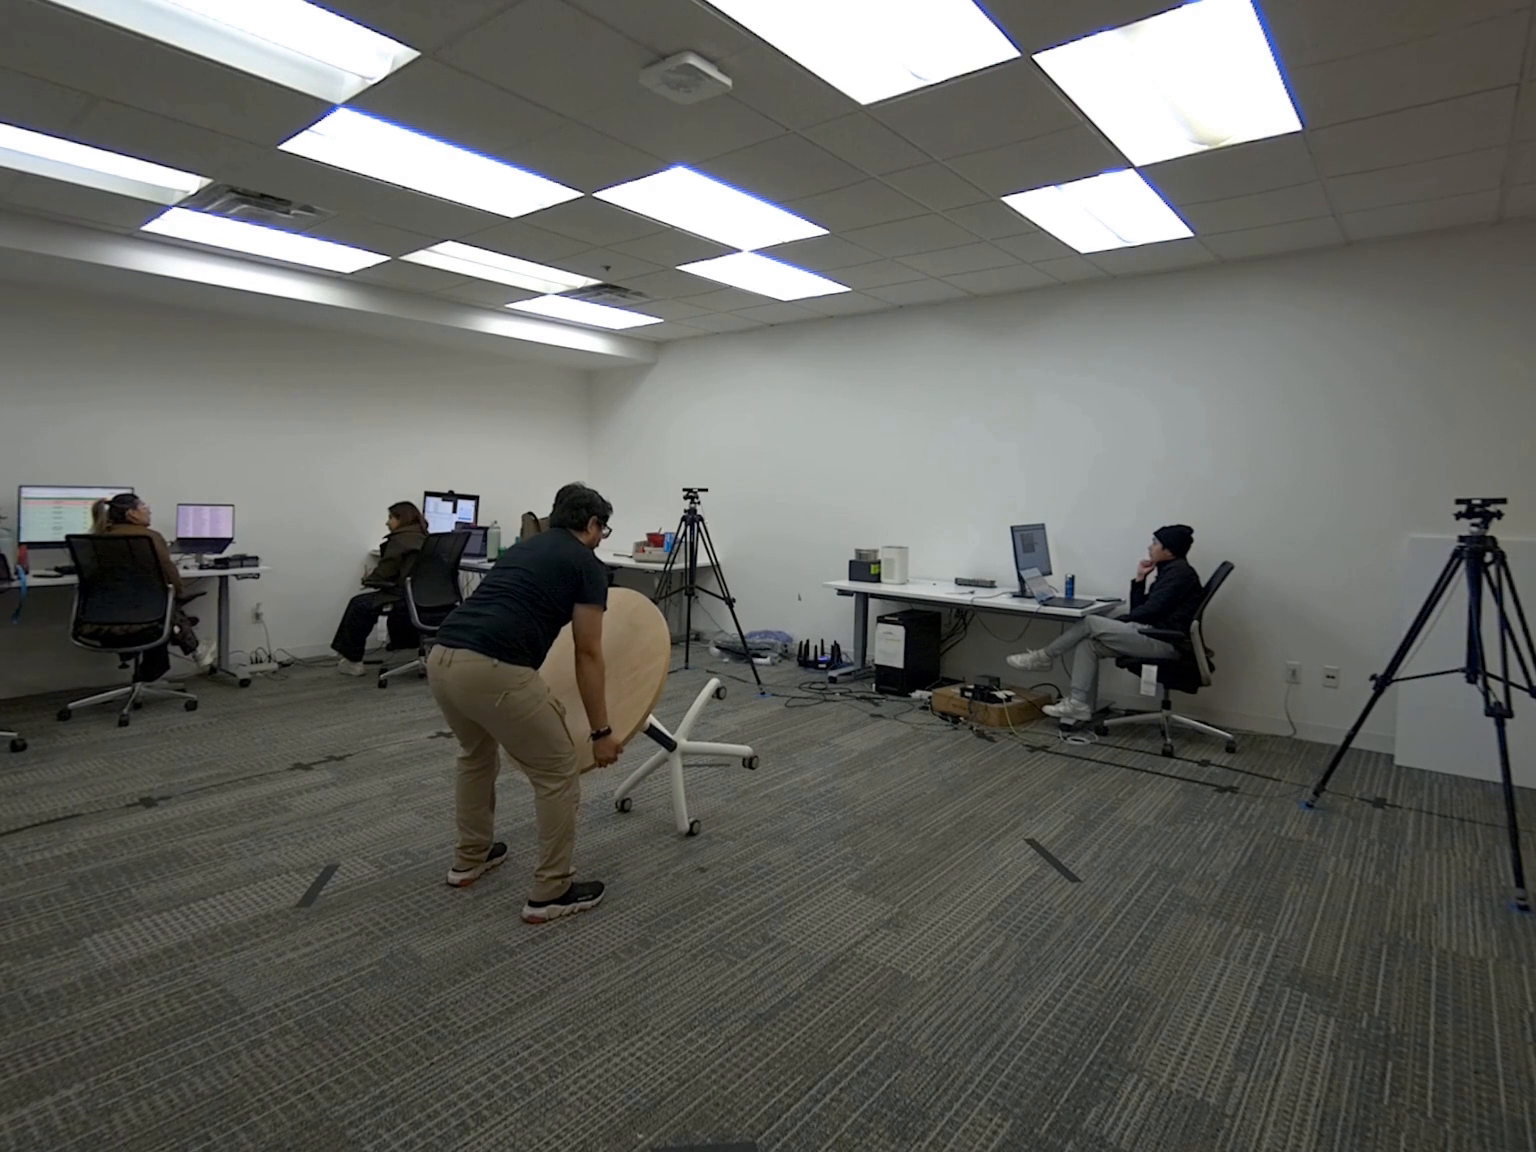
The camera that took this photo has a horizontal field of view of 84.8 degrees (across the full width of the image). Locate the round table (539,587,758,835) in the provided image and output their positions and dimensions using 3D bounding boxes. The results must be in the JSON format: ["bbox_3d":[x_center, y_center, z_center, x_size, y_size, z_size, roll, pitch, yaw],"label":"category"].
[{"bbox_3d":[-0.527,0.583,3.393,0.811,0.793,0.753,4,-31,36],"label":"round table"}]
